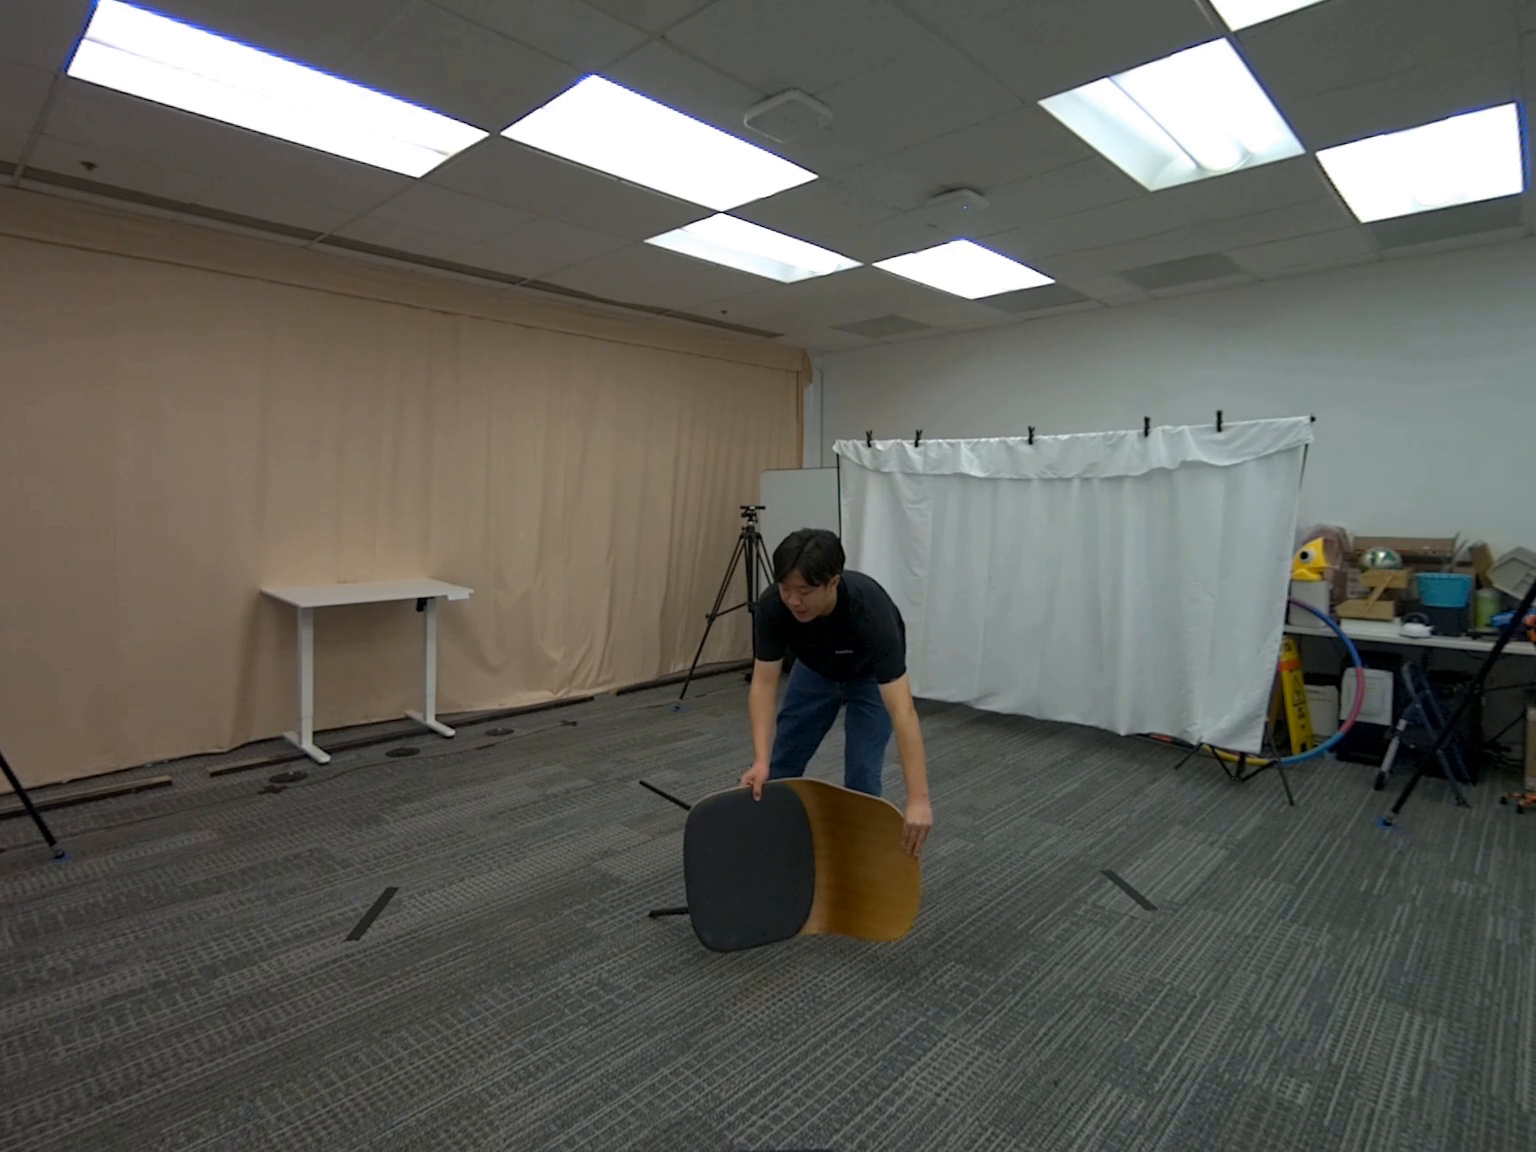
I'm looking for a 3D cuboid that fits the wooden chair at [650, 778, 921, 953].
[{"bbox_3d":[-0.026,0.883,2.604,0.508,0.480,0.899,-1,-6,-33],"label":"wooden chair"}]
